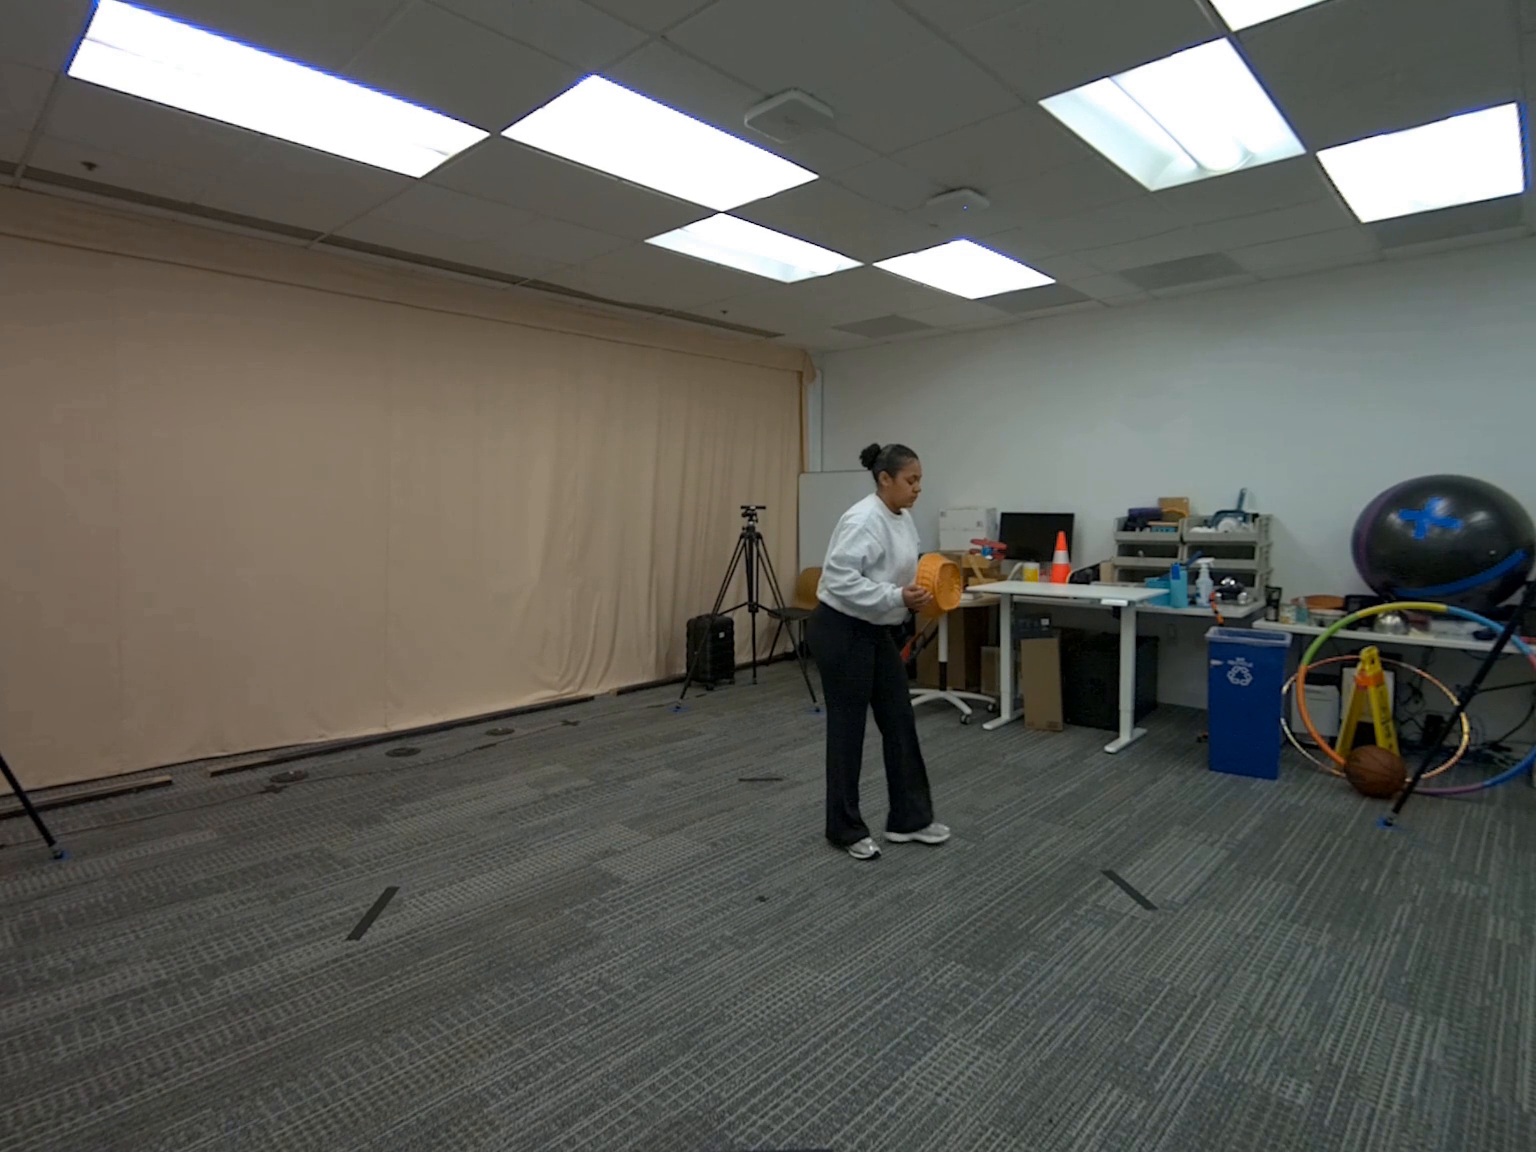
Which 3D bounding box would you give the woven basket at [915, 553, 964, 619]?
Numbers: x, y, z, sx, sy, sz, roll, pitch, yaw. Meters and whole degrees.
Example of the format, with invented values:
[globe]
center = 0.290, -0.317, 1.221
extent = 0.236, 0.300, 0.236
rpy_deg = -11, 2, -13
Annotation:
[woven basket]
center = 0.663, 0.039, 3.189
extent = 0.075, 0.253, 0.340
rpy_deg = -5, -3, 36
